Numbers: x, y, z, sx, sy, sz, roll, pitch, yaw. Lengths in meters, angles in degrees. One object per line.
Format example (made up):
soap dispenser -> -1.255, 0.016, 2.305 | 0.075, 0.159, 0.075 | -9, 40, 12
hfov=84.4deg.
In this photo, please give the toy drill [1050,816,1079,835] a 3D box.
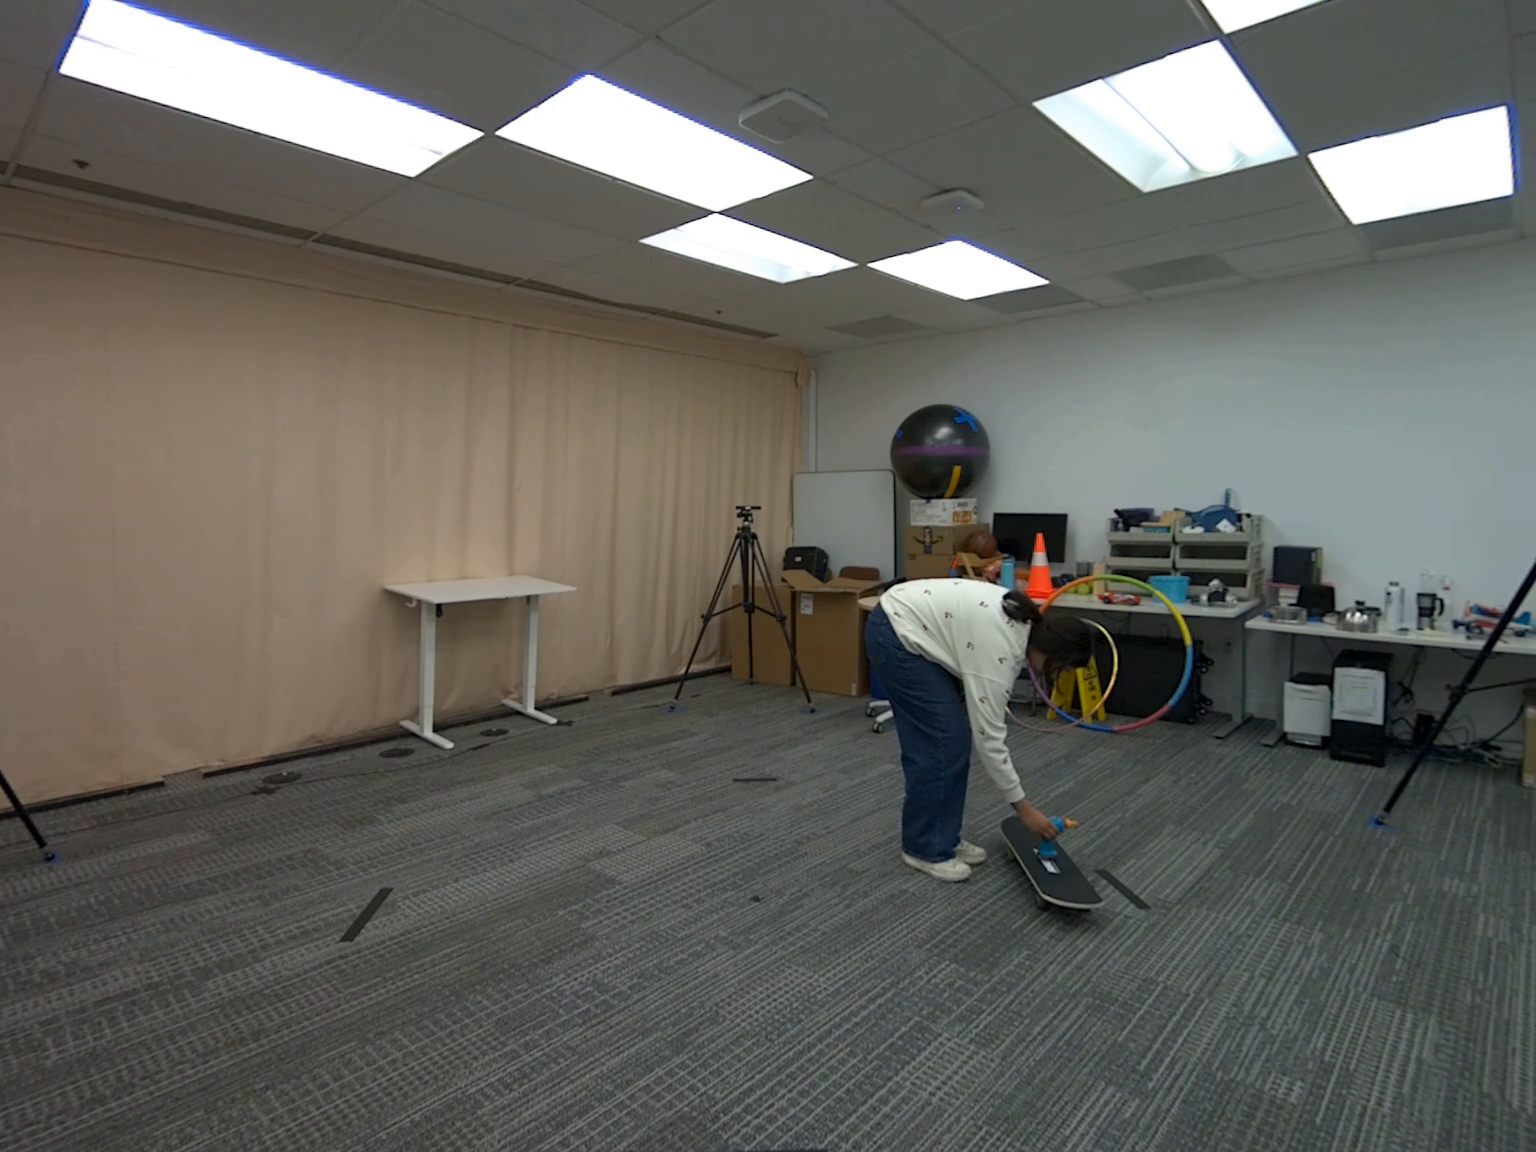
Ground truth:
toy drill -> 1.079, 0.962, 3.092 | 0.167, 0.145, 0.062 | -1, 8, -13
